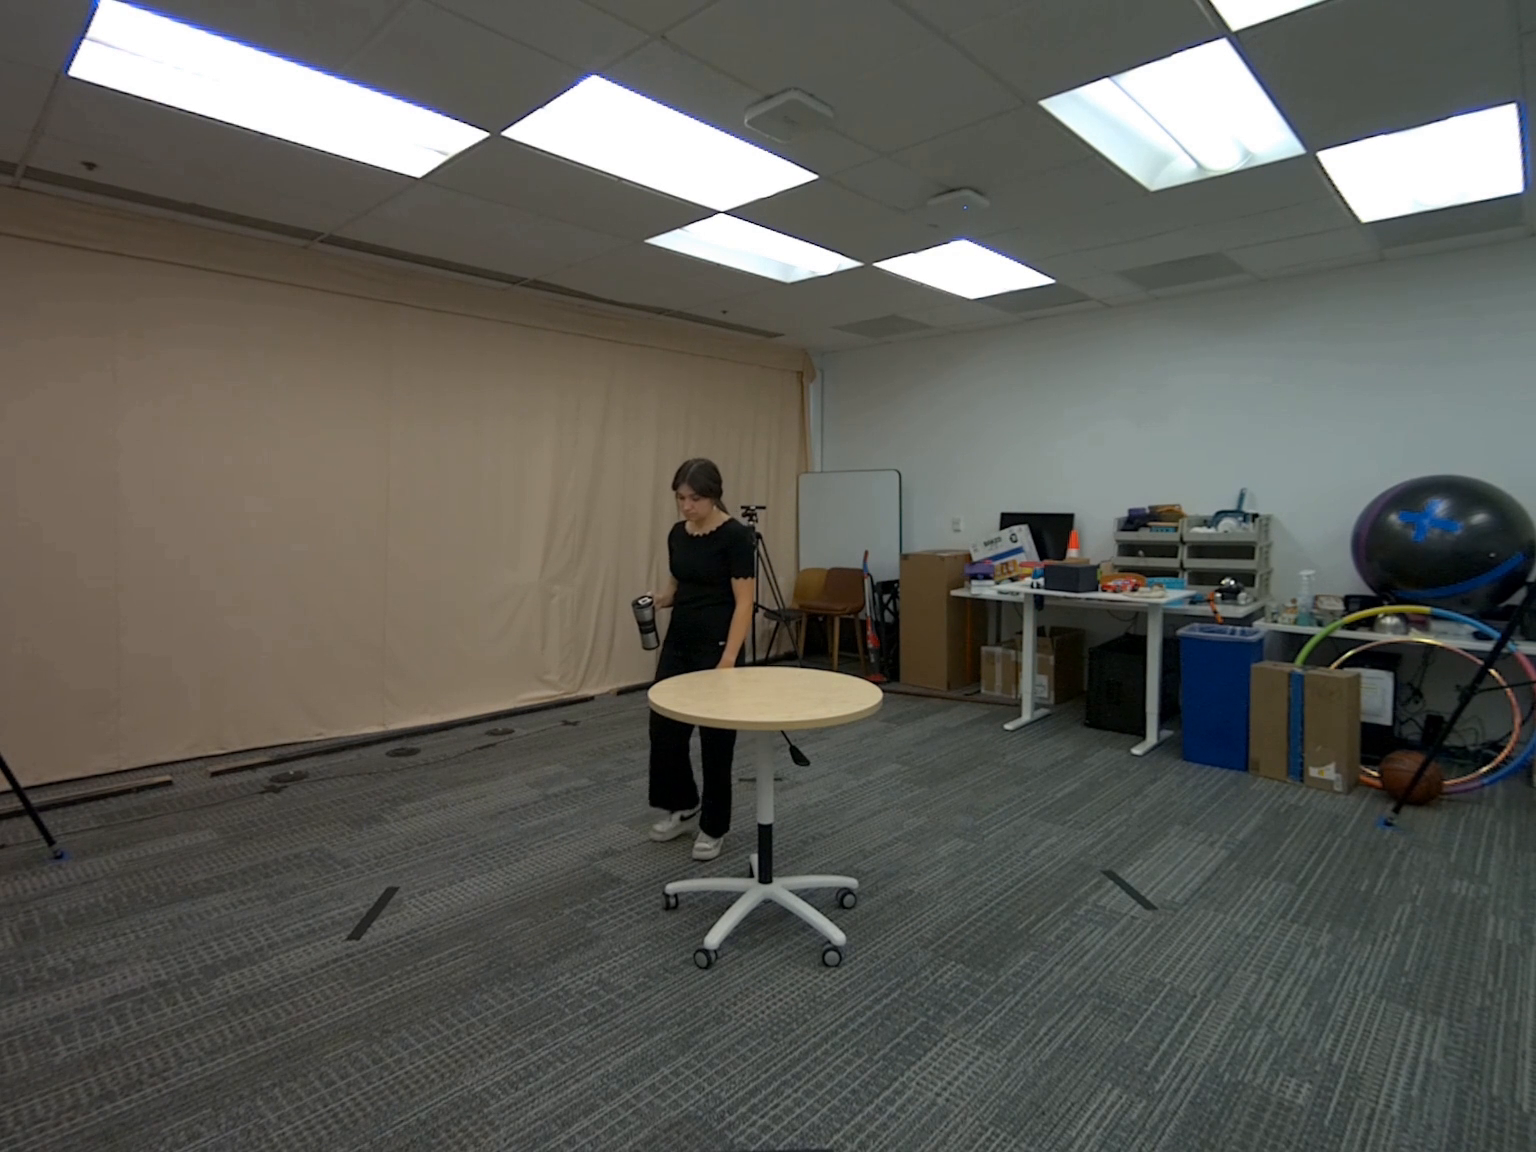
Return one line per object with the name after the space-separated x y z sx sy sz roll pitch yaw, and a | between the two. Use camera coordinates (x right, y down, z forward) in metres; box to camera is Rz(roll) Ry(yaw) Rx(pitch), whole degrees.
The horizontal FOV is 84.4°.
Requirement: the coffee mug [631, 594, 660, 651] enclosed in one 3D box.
-0.464 0.178 3.300 0.091 0.199 0.120 12 36 35 | coffee mug
